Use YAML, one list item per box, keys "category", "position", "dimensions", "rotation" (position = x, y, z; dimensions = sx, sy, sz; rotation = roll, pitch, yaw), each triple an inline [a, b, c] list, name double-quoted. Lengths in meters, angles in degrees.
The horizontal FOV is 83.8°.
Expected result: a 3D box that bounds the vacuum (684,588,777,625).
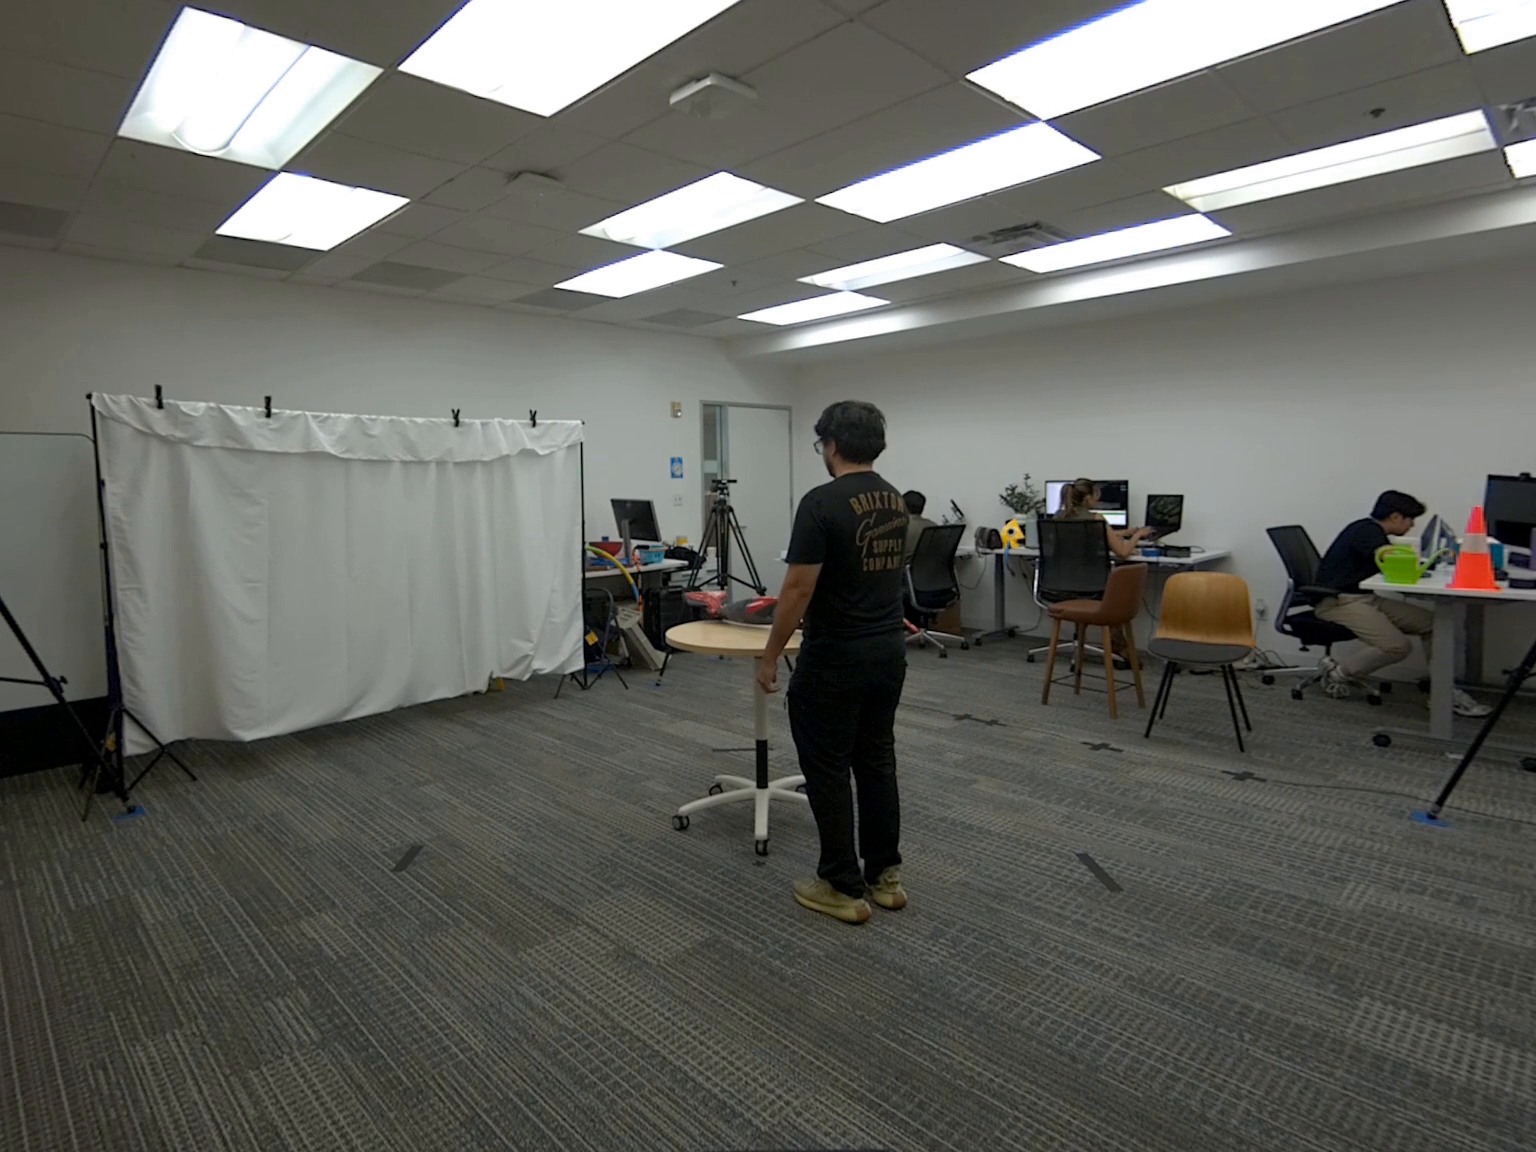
- category: "vacuum"
  position: [0.128, 0.166, 3.398]
  dimensions: [0.245, 0.144, 1.082]
  rotation: [-1, 4, -45]
